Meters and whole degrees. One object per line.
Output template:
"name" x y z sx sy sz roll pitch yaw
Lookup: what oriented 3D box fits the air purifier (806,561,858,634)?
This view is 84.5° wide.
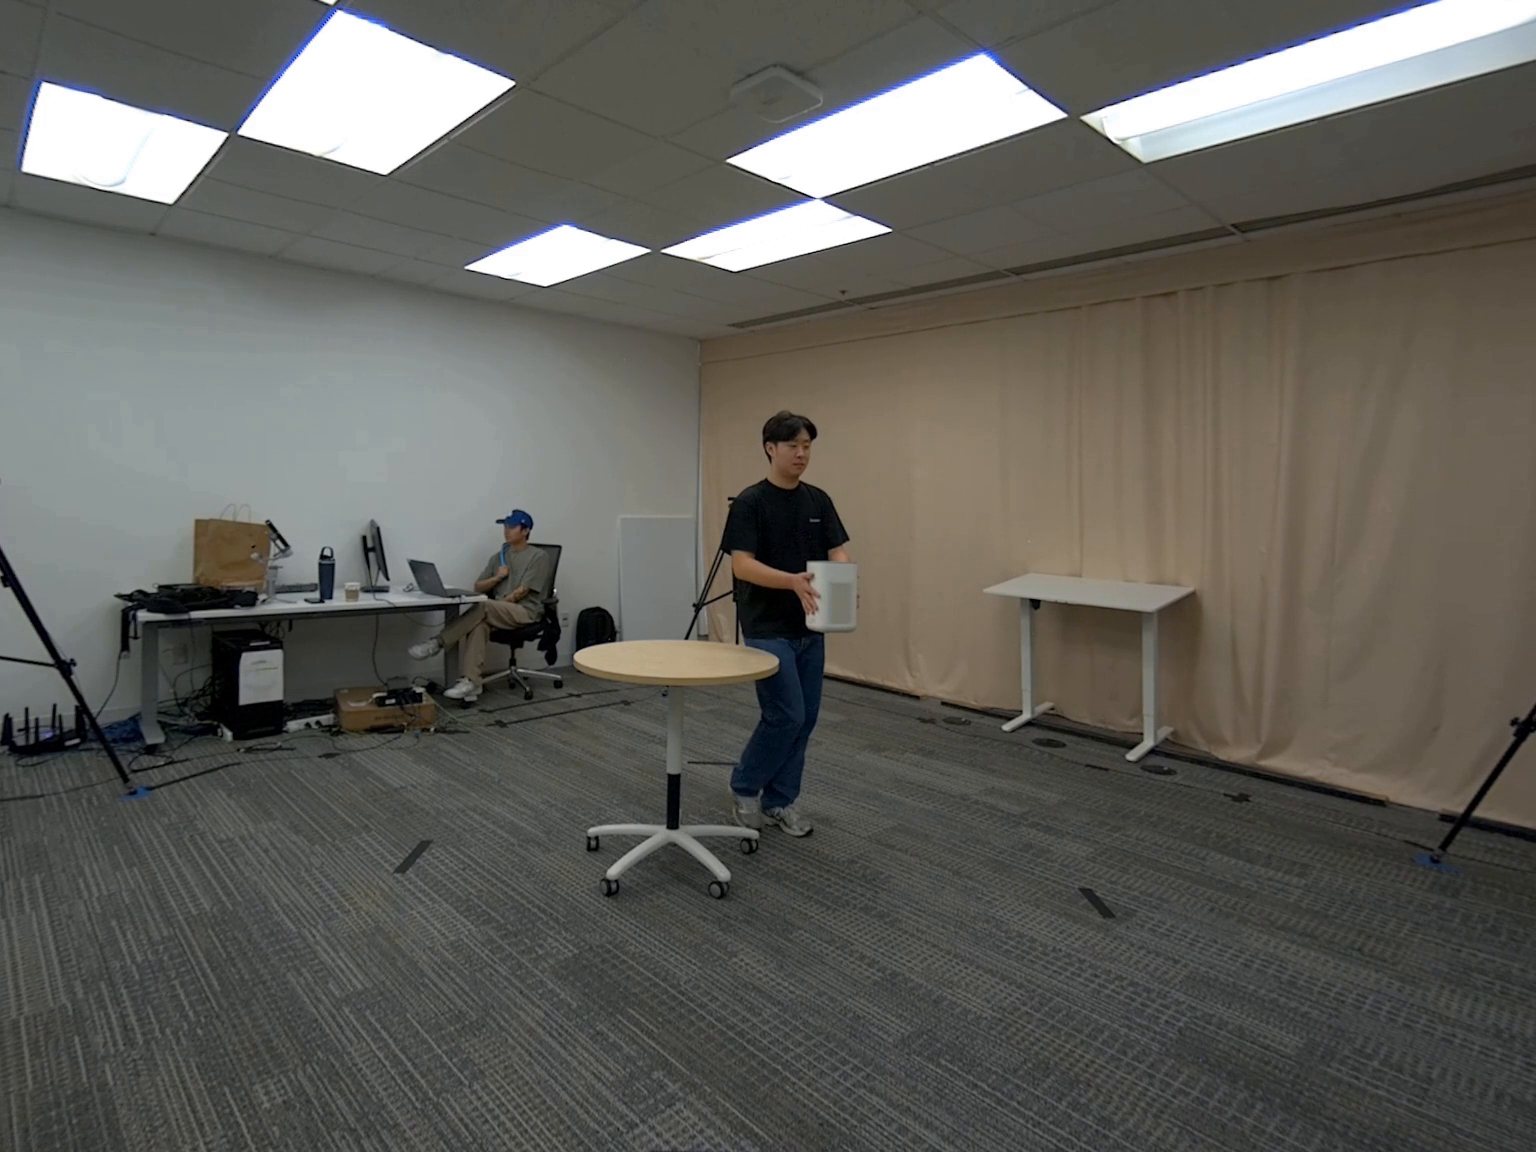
"air purifier" 0.230 0.076 3.192 0.169 0.265 0.173 1 0 -17
